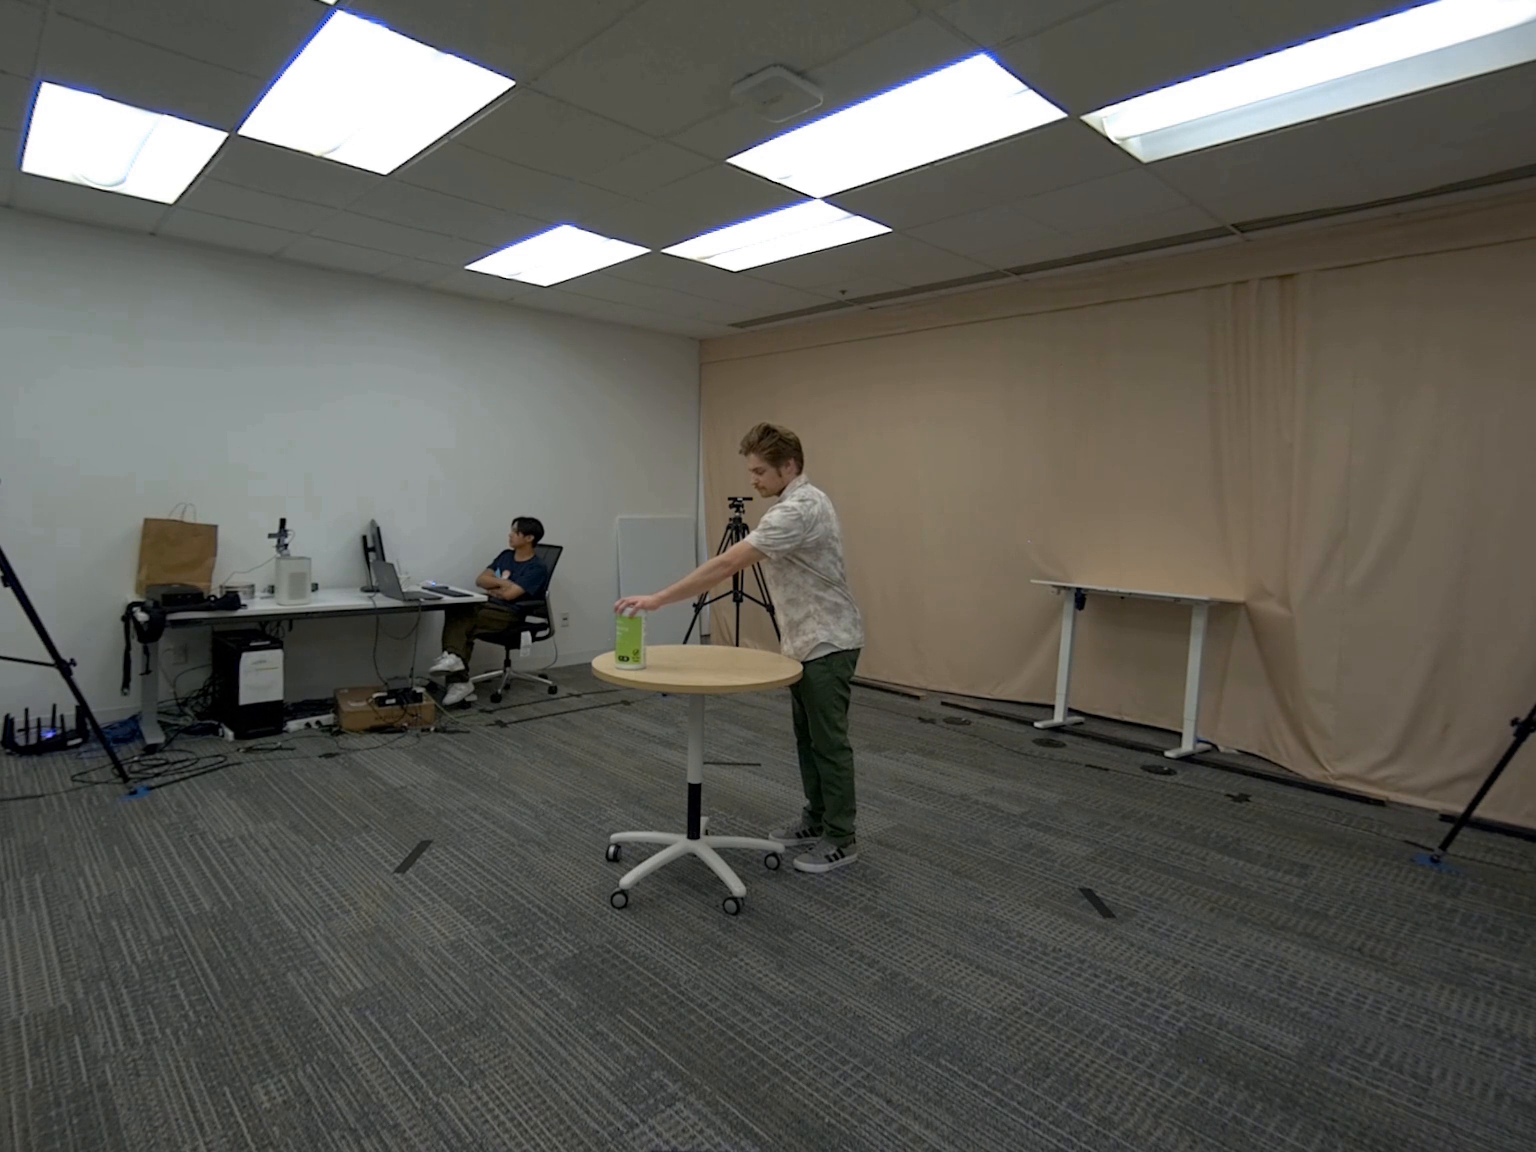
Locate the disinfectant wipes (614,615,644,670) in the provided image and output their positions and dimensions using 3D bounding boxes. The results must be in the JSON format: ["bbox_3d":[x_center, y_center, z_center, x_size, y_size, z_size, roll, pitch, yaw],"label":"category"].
[{"bbox_3d":[-0.482,0.215,2.945,0.118,0.217,0.118,3,5,-2],"label":"disinfectant wipes"}]
